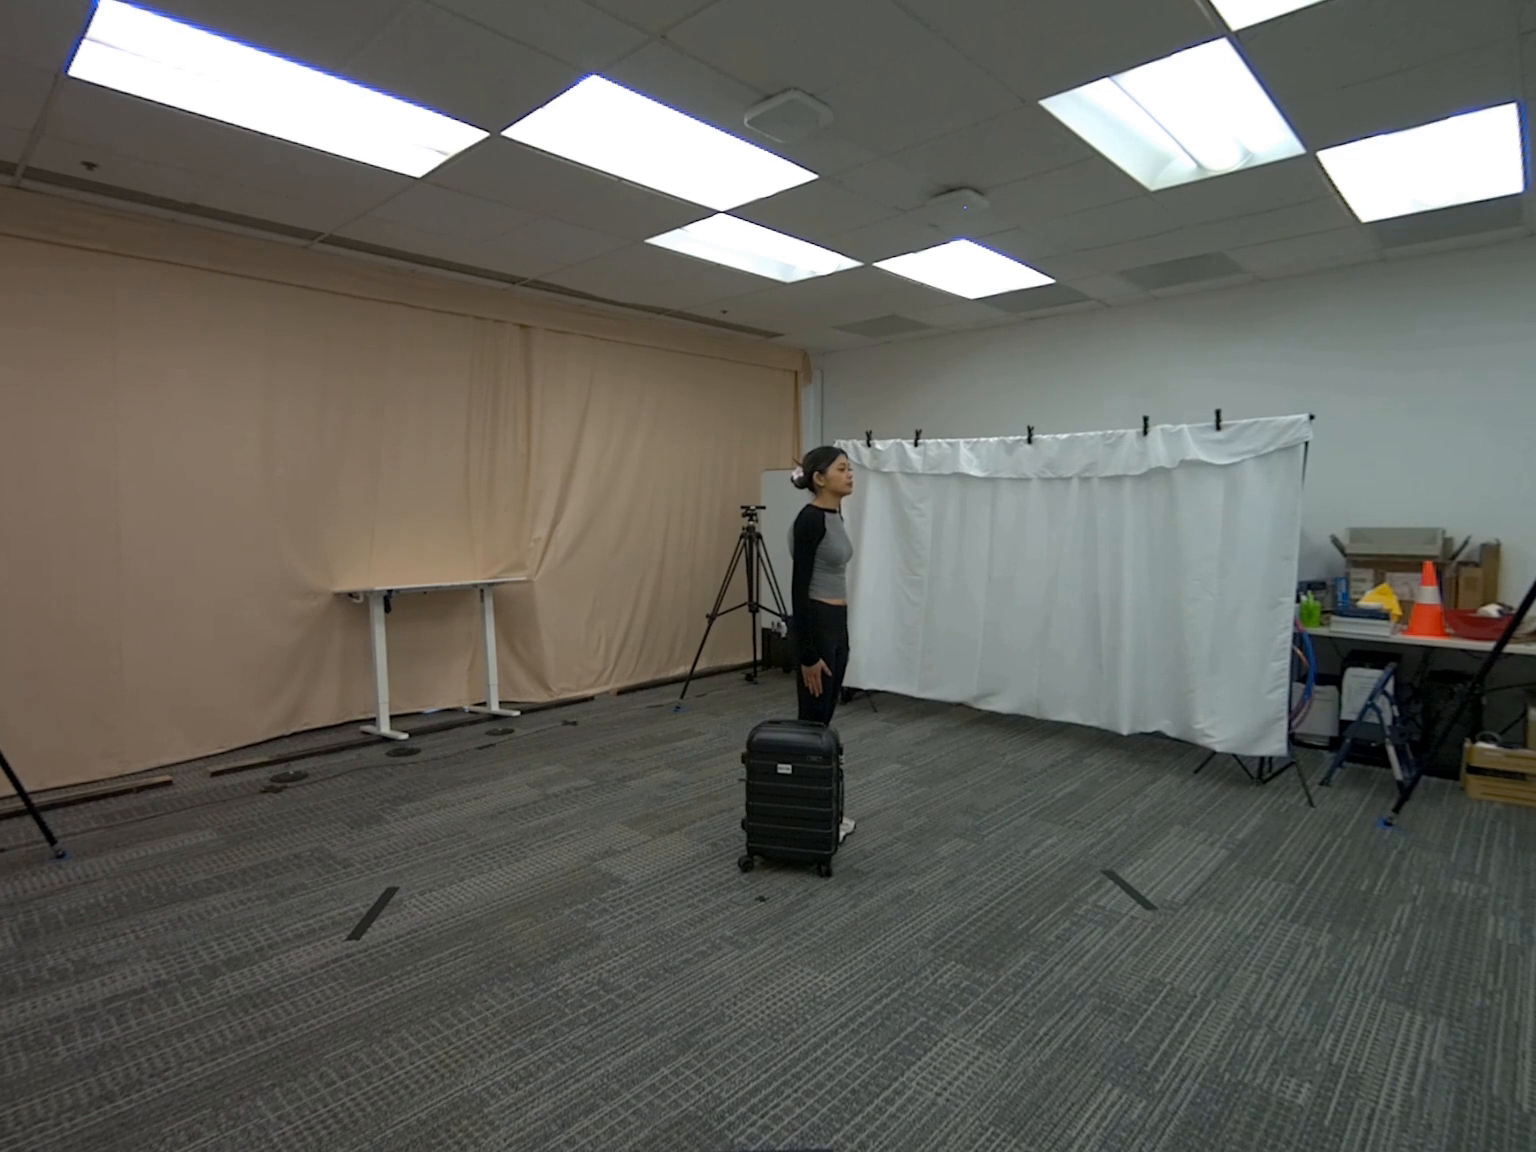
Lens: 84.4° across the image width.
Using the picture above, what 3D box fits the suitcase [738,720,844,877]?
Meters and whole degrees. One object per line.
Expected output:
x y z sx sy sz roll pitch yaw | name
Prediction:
0.097 0.842 3.269 0.381 0.548 0.245 2 4 14 | suitcase
